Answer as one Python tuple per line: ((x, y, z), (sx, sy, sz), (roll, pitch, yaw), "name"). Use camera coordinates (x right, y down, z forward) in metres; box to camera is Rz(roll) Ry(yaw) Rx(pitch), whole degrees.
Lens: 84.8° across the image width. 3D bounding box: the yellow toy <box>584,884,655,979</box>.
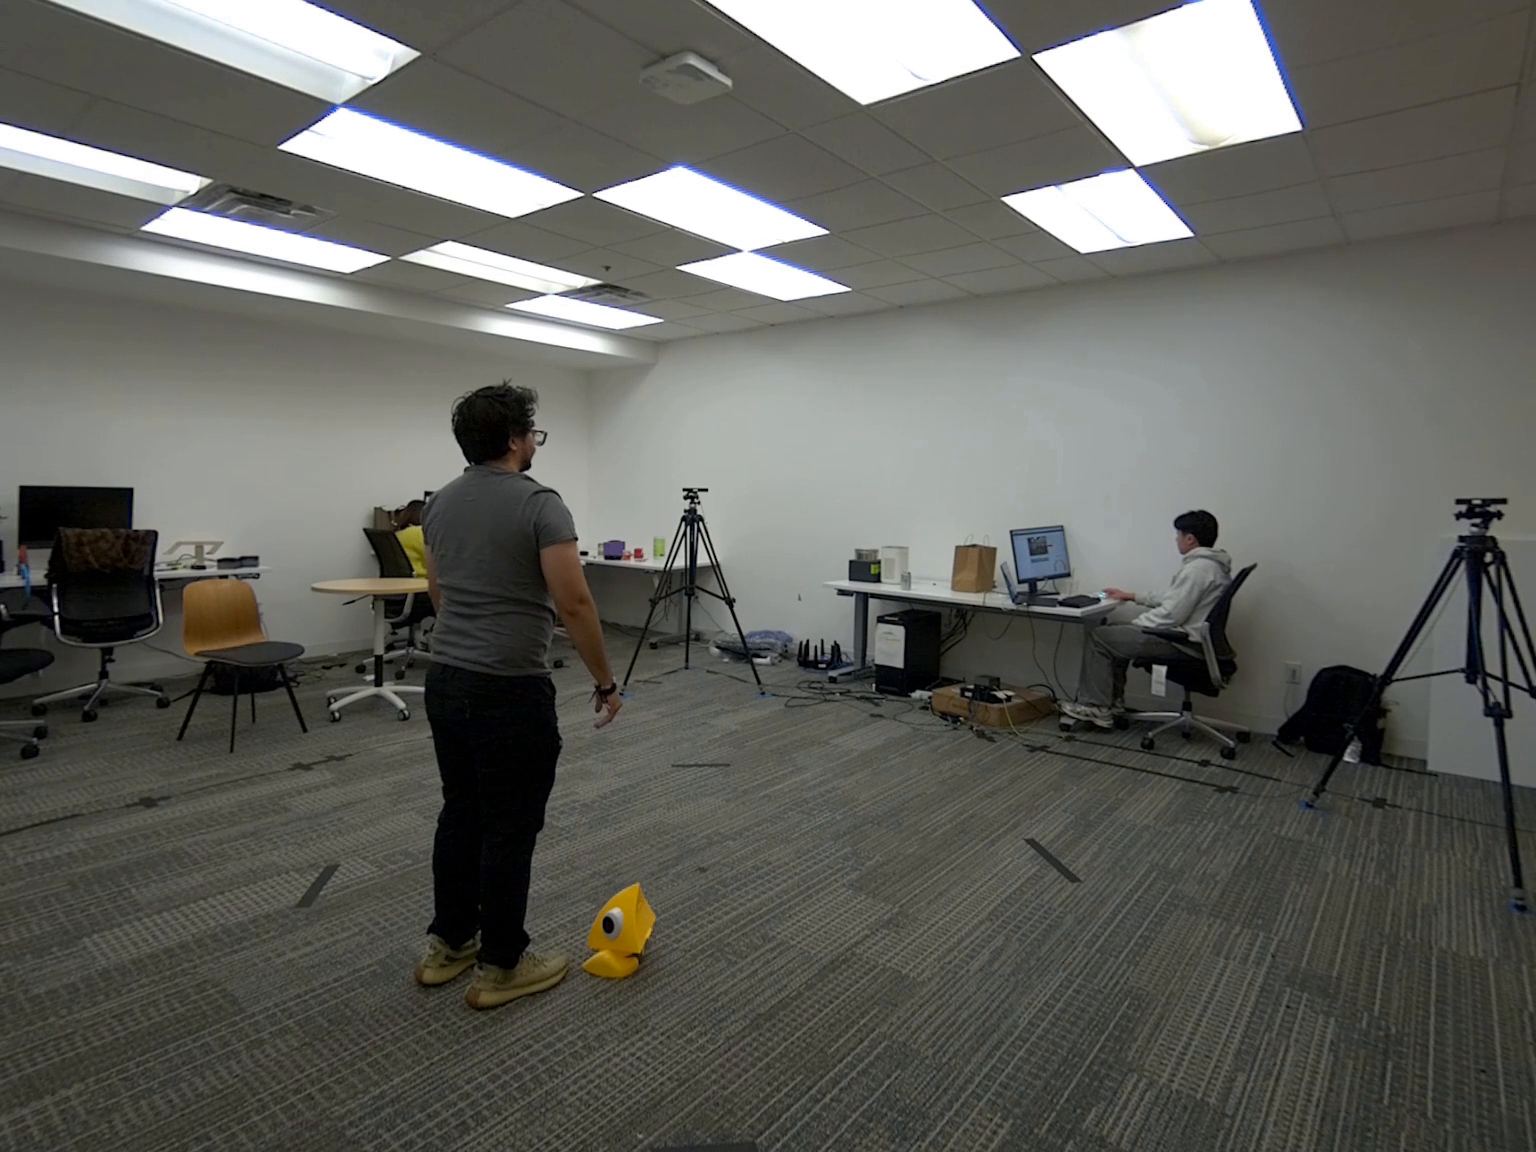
((-0.452, 1.012, 2.502), (0.194, 0.230, 0.204), (1, 5, 6), "yellow toy")
